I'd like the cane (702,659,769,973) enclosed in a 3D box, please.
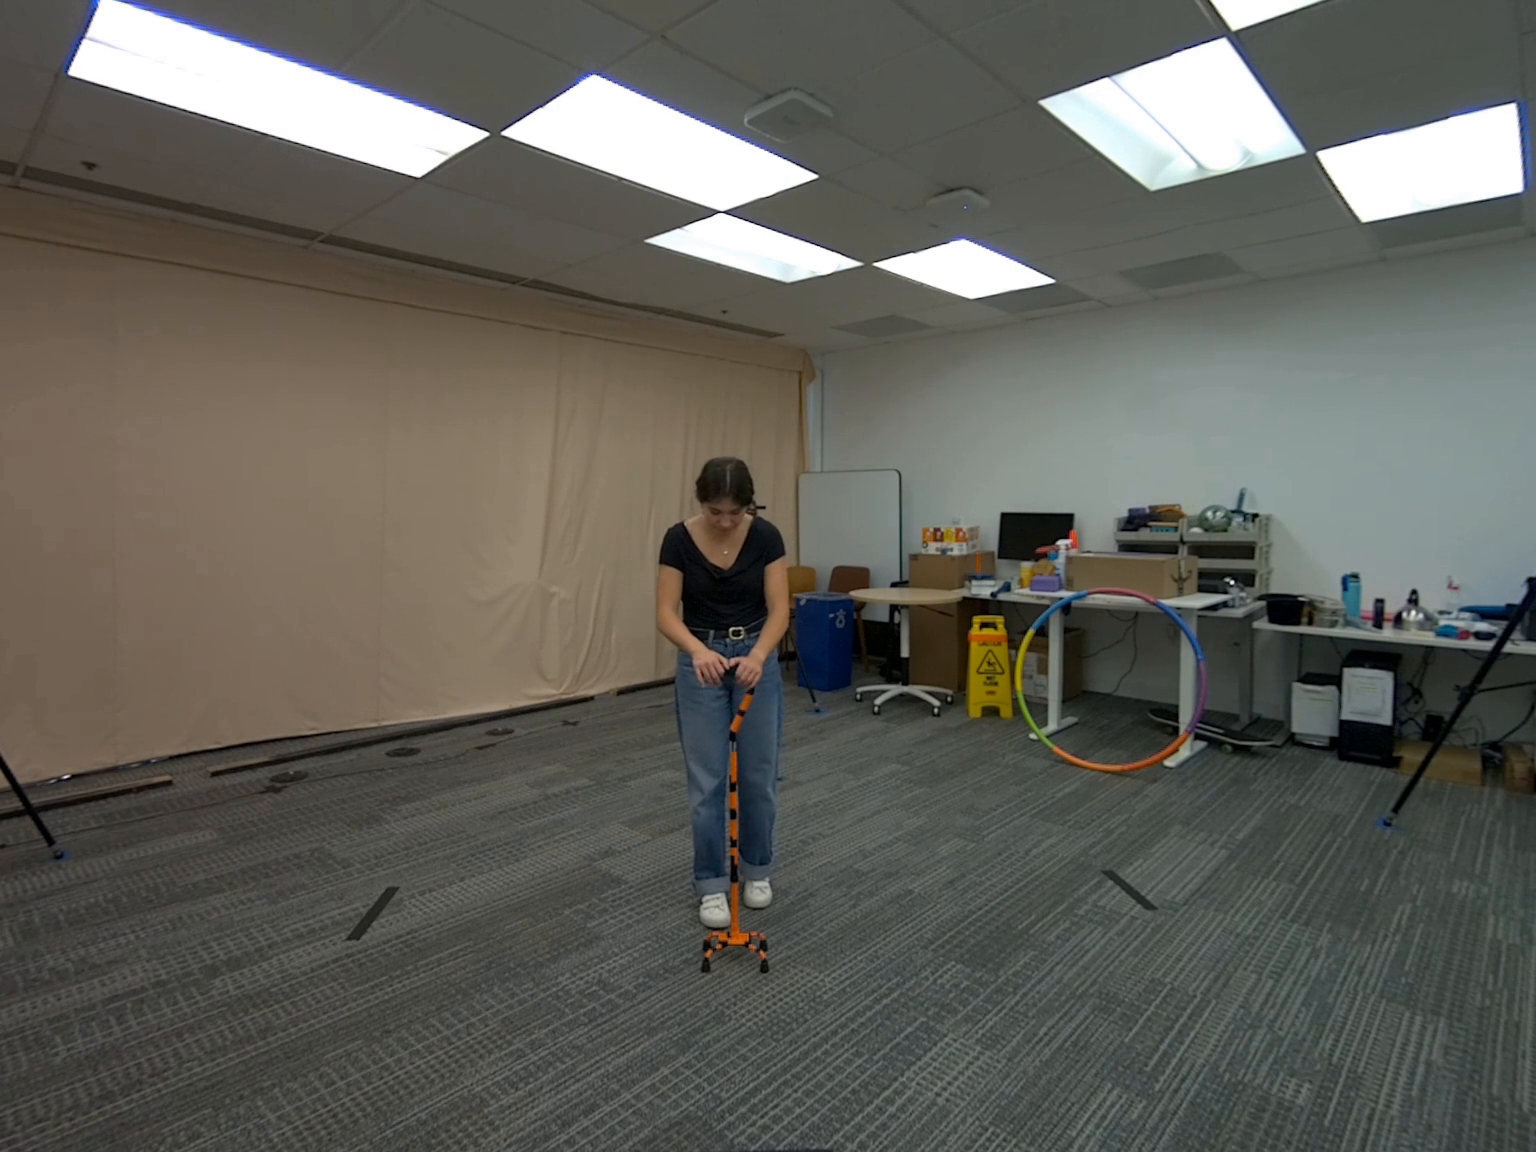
[{"bbox_3d":[-0.101,0.722,2.563,0.206,0.906,0.152,0,3,0],"label":"cane"}]
